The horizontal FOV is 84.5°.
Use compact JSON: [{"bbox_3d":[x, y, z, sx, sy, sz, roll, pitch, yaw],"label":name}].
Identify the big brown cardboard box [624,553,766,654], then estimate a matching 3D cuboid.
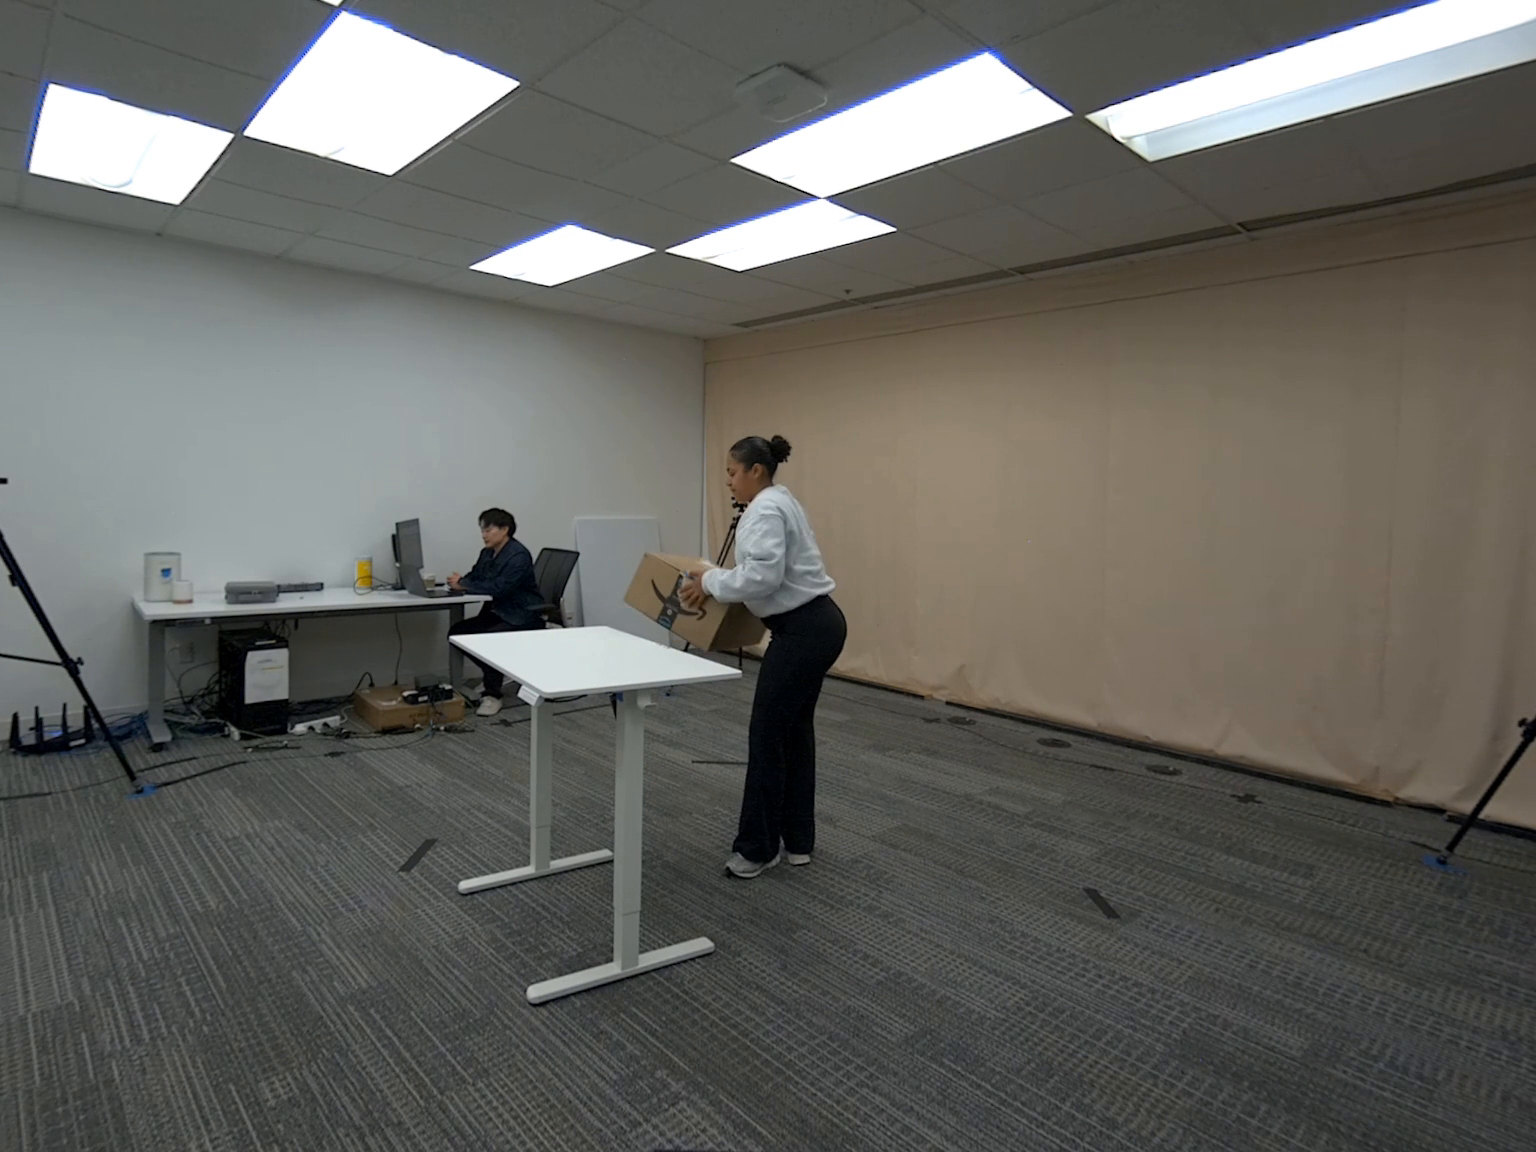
[{"bbox_3d":[-0.259,0.107,3.442,0.426,0.232,0.578,28,9,20],"label":"big brown cardboard box"}]
